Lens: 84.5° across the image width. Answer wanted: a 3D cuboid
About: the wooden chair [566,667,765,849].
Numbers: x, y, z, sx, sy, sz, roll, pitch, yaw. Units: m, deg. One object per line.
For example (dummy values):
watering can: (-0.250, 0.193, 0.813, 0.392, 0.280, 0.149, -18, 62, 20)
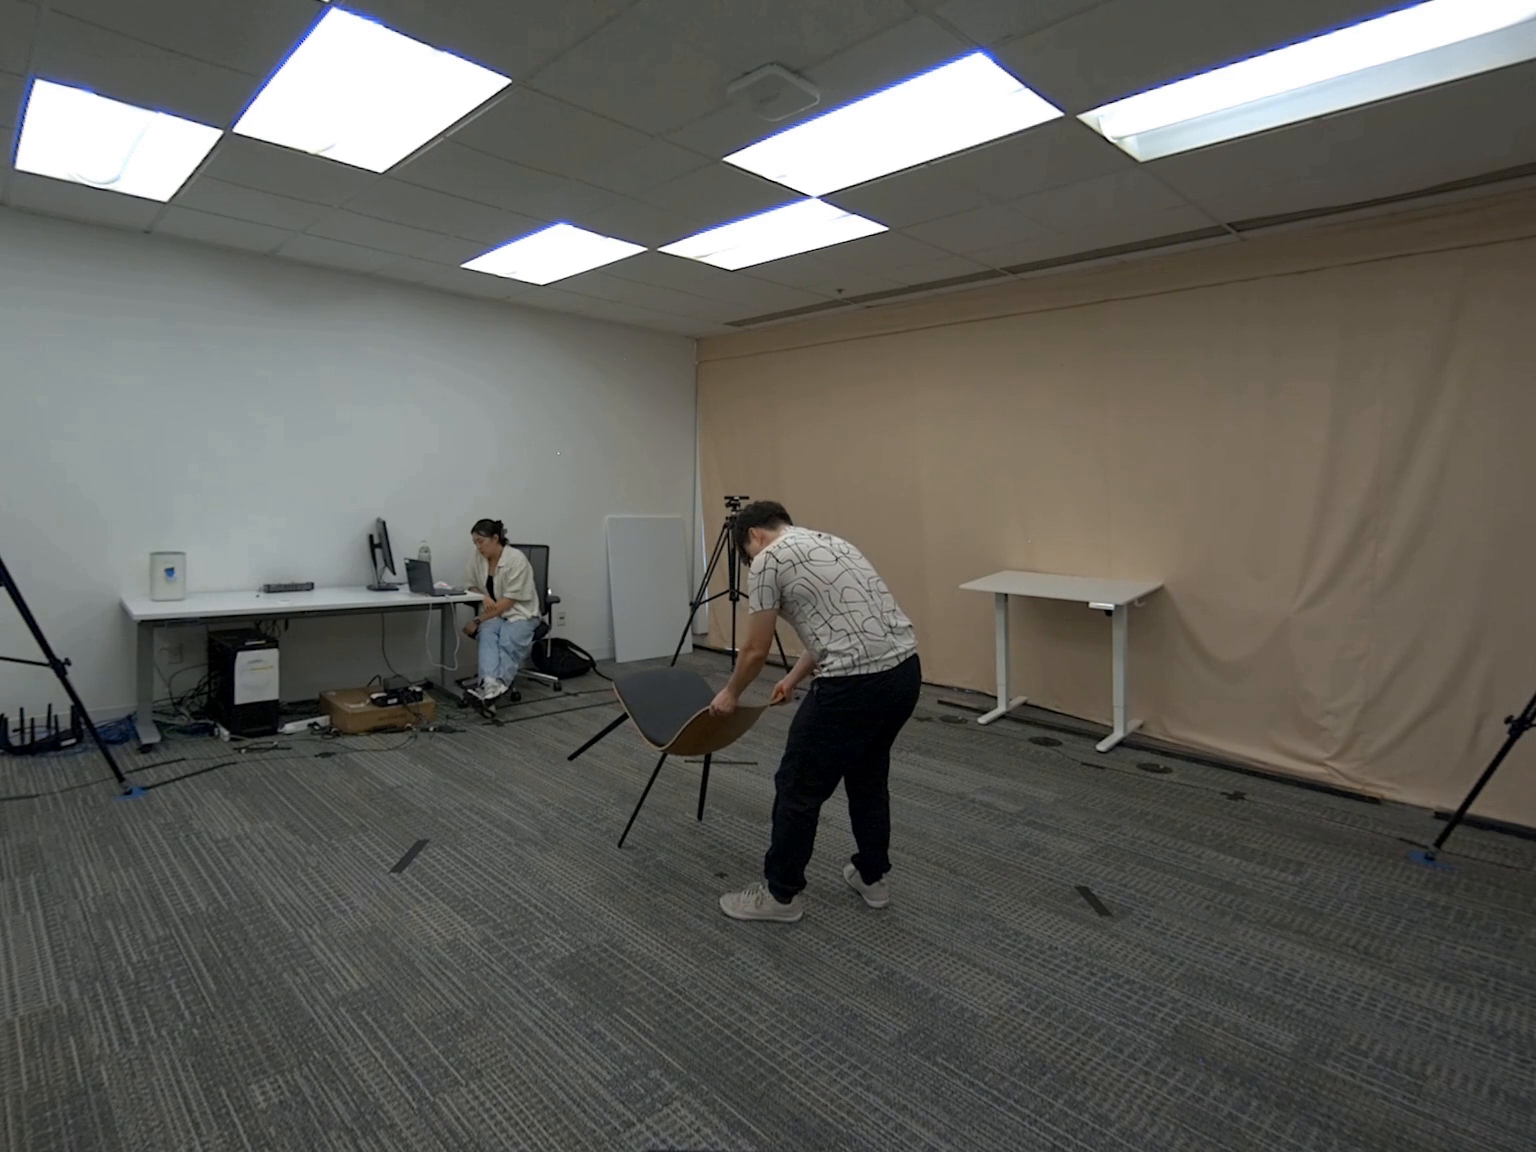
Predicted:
wooden chair: (-0.376, 0.587, 3.402, 0.467, 0.873, 0.538, -2, 47, -45)
